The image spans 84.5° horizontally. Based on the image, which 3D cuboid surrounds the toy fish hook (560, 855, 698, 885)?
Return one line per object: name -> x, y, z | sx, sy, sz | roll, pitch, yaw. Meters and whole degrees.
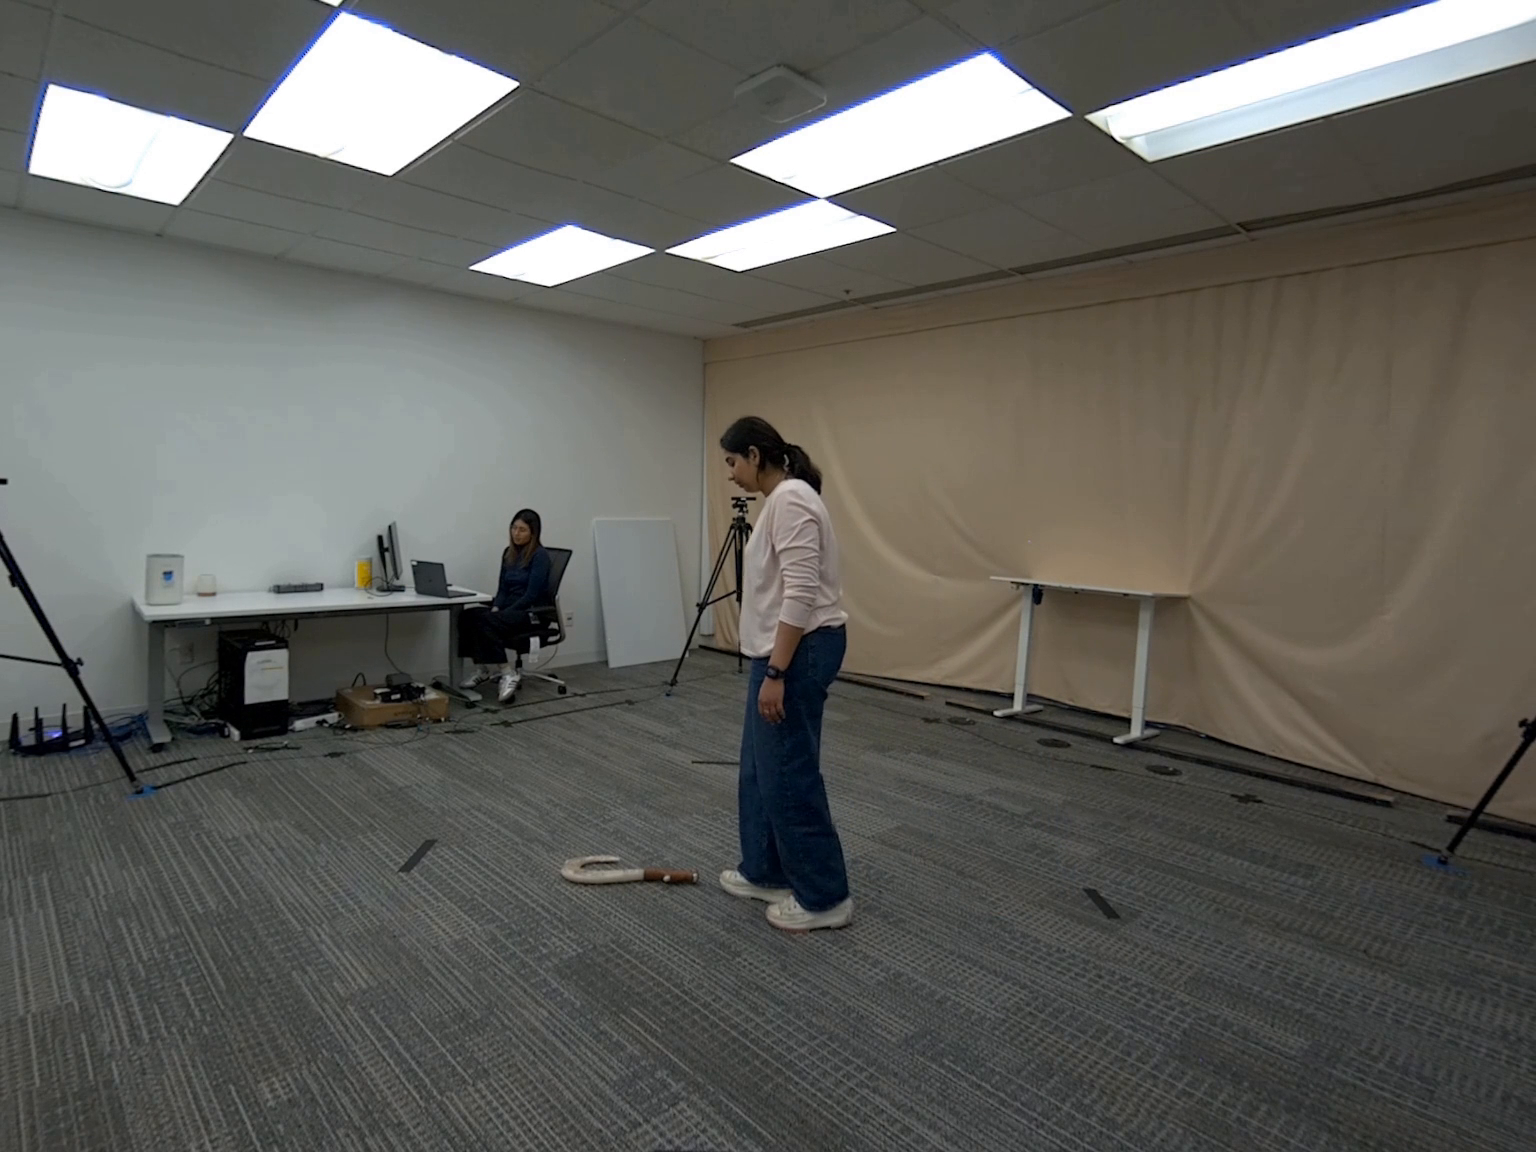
toy fish hook -> -0.507, 1.069, 3.098 | 0.507, 0.048, 0.225 | 1, 6, 1
